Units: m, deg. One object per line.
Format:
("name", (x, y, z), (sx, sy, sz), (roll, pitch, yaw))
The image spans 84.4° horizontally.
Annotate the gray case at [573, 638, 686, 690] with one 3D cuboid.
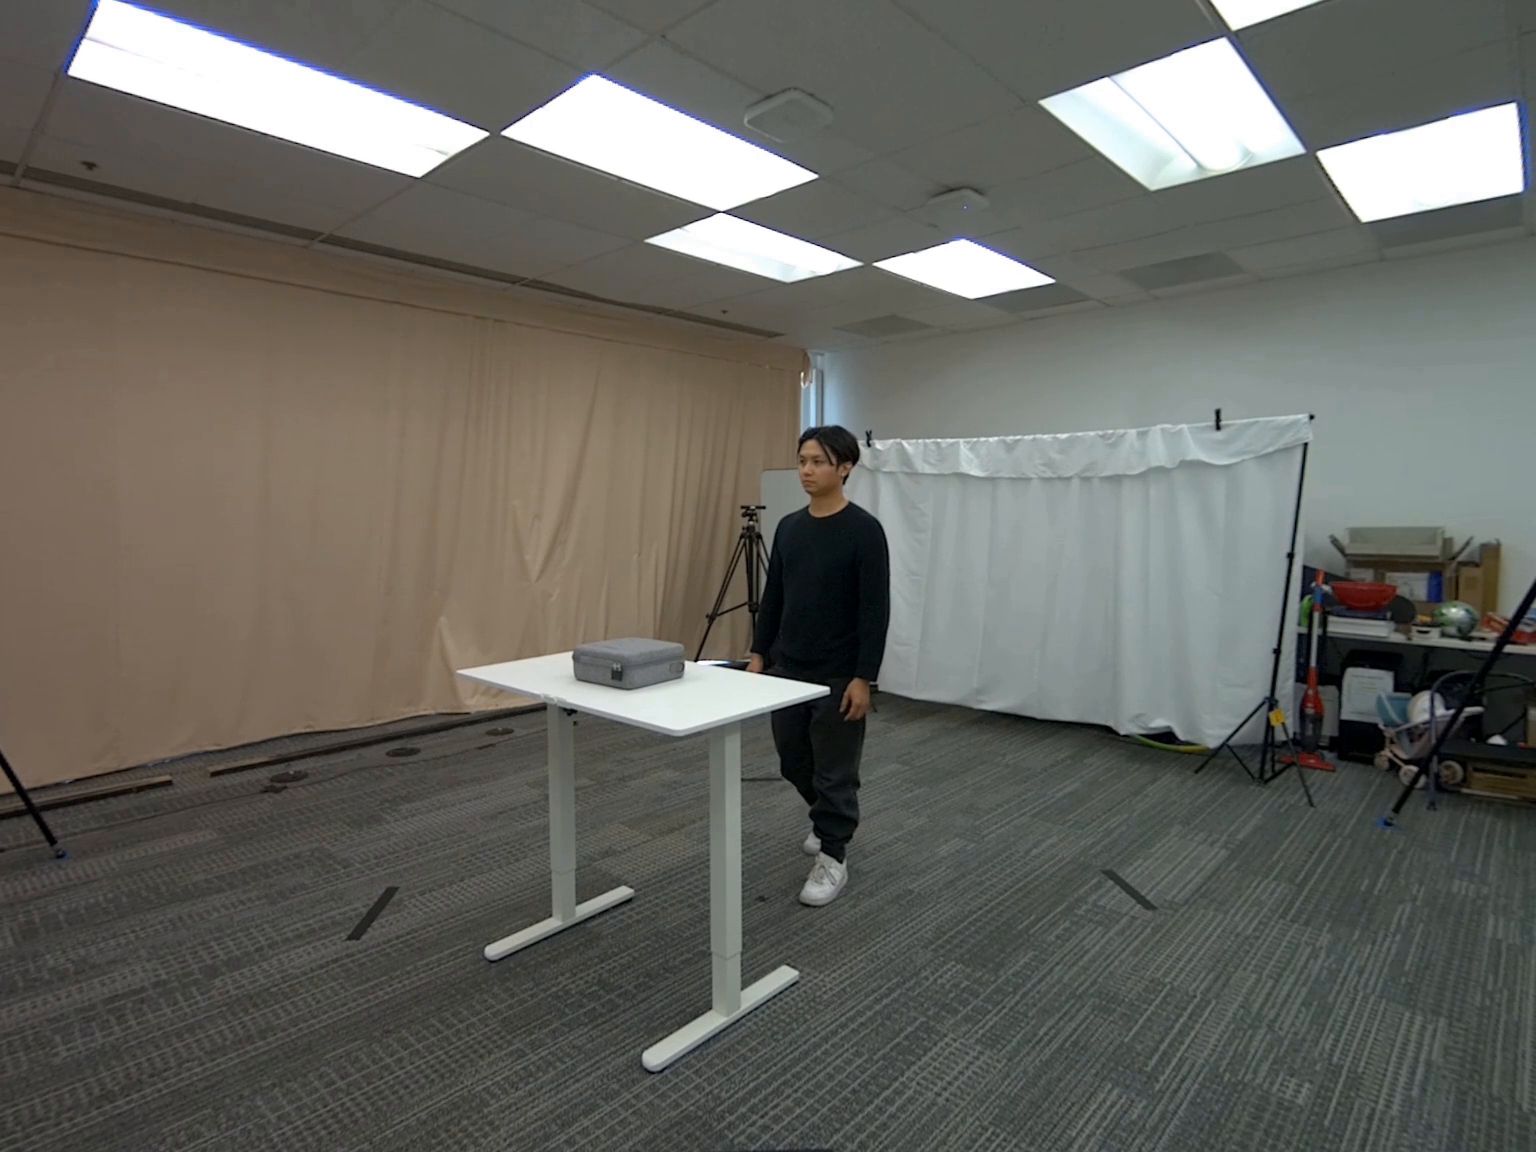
("gray case", (-0.411, 0.254, 2.498), (0.265, 0.104, 0.253), (3, 5, 38))
